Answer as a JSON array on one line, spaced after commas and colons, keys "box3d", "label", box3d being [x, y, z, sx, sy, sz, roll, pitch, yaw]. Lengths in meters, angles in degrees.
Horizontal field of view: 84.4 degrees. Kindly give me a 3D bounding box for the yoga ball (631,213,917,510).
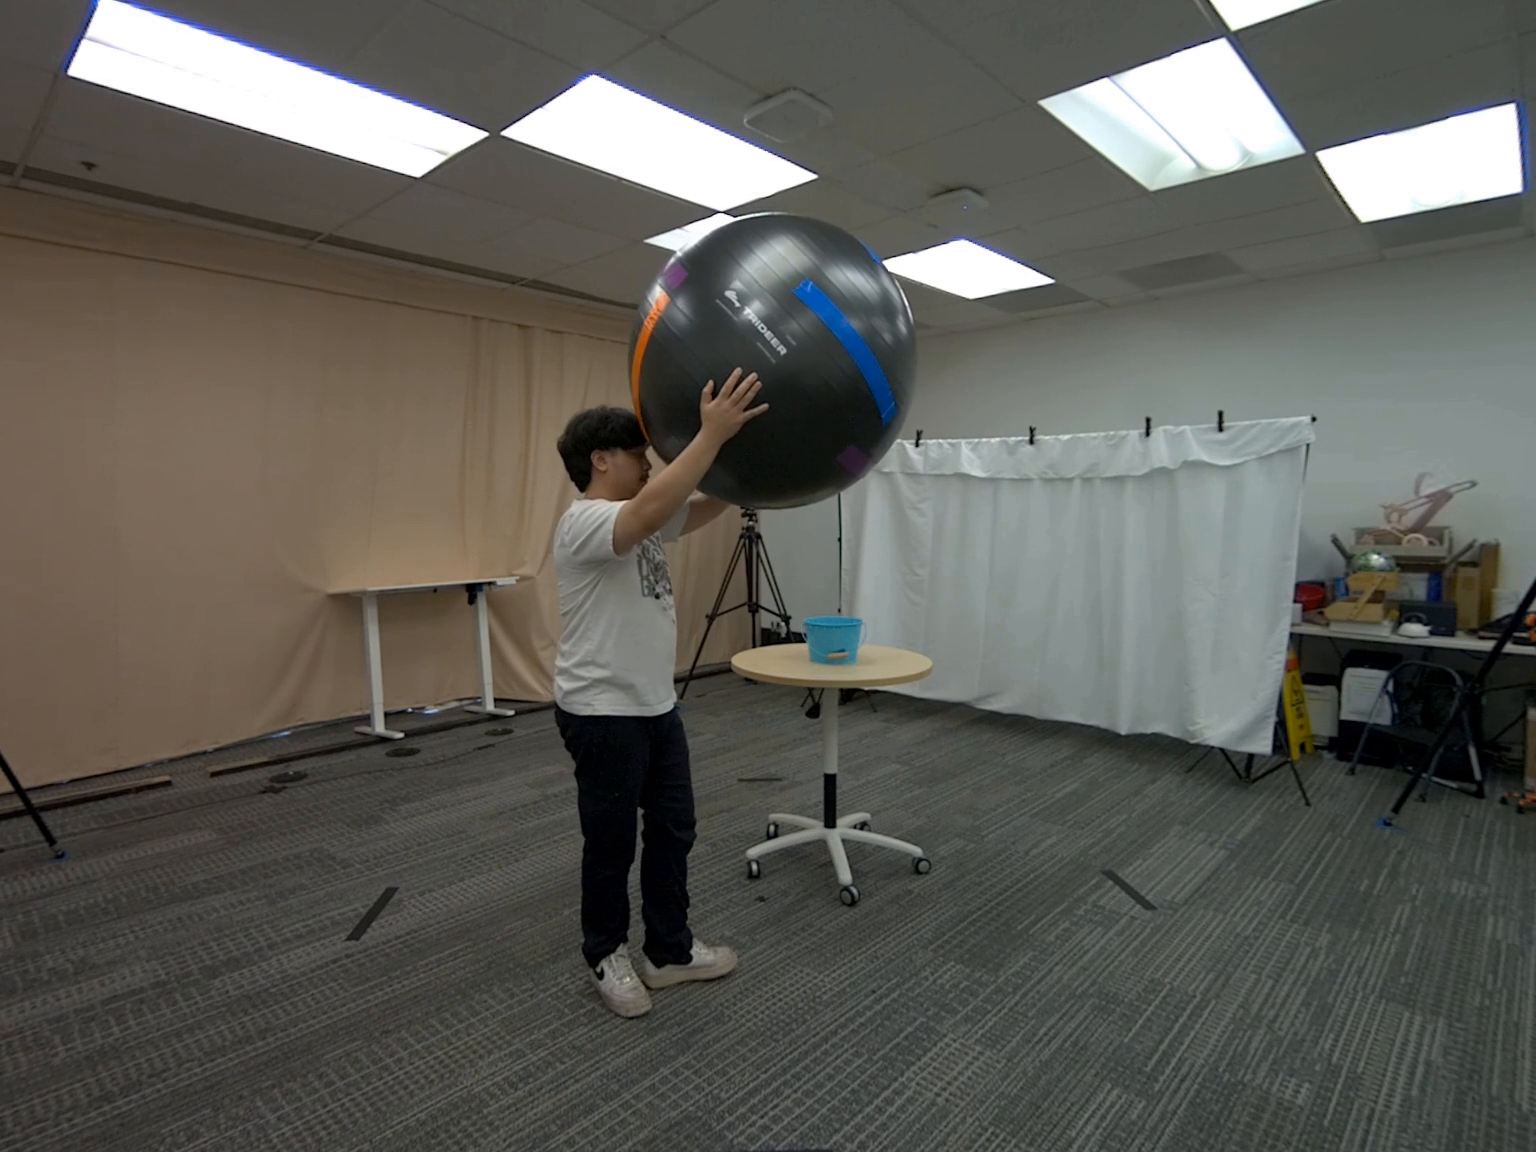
[{"box3d": [0.011, -0.550, 2.235, 0.757, 0.756, 0.760, 0, 4, -2], "label": "yoga ball"}]
